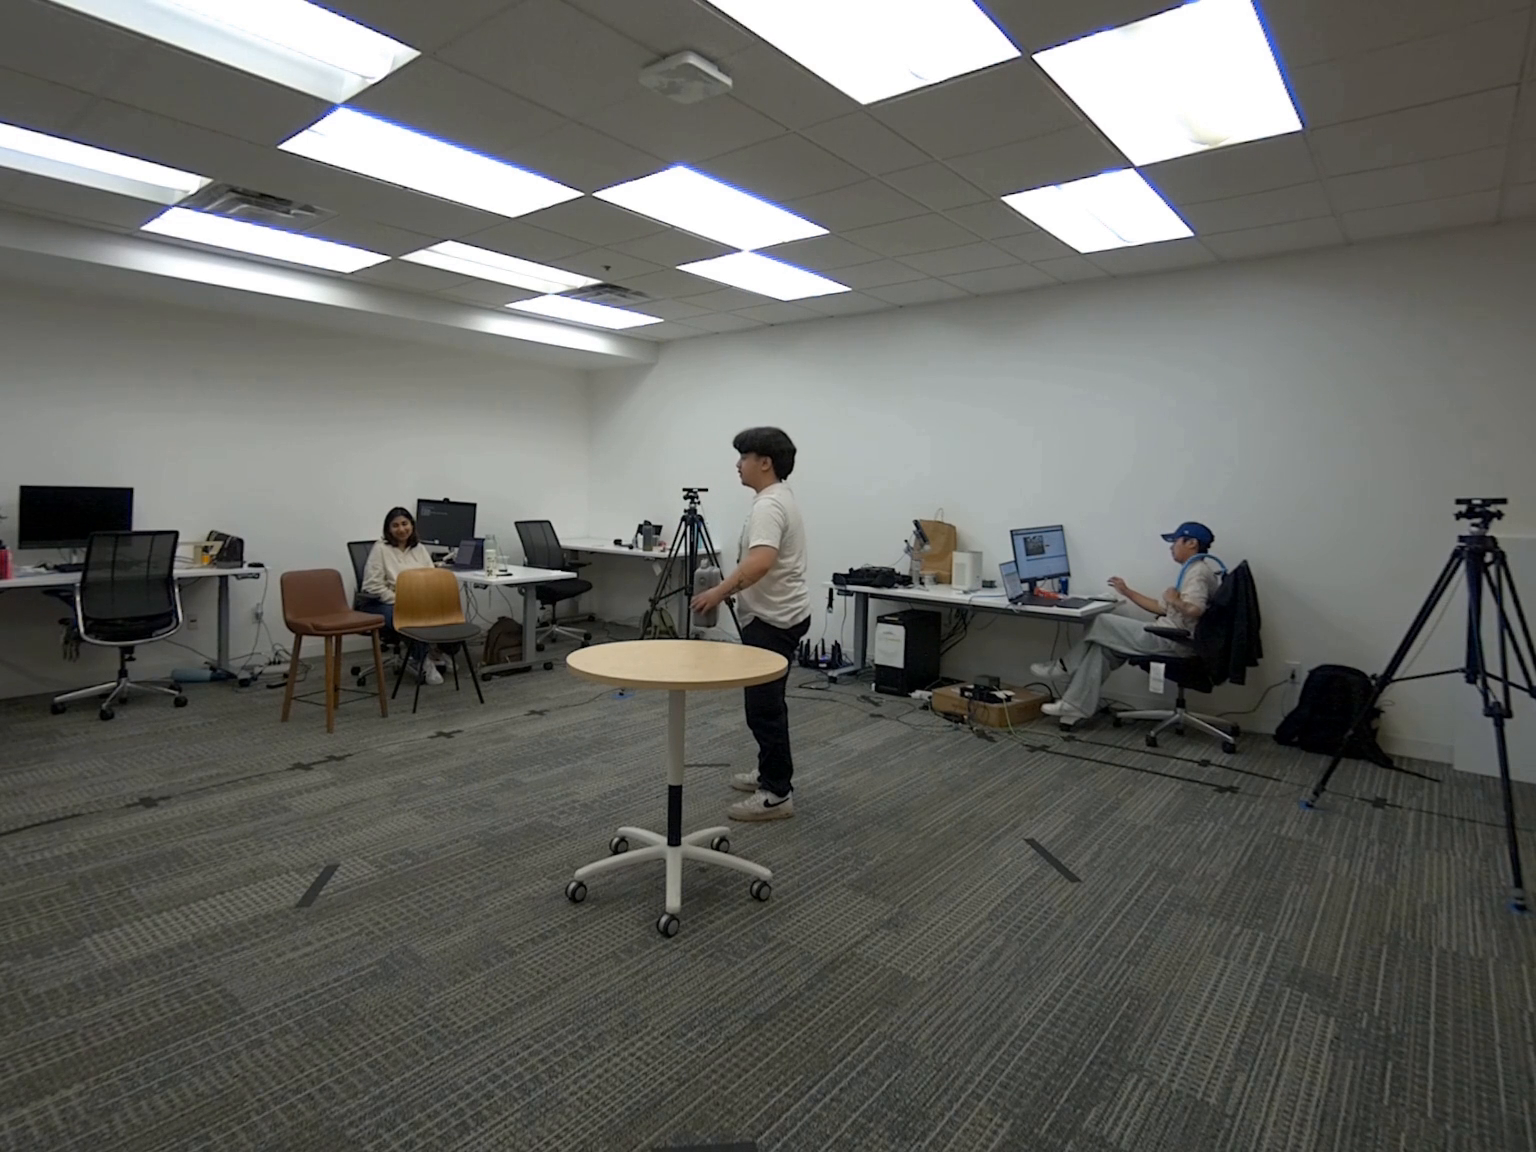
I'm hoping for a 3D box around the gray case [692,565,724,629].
[{"bbox_3d":[-0.285,0.083,3.787,0.104,0.261,0.256,-1,-1,-1],"label":"gray case"}]
